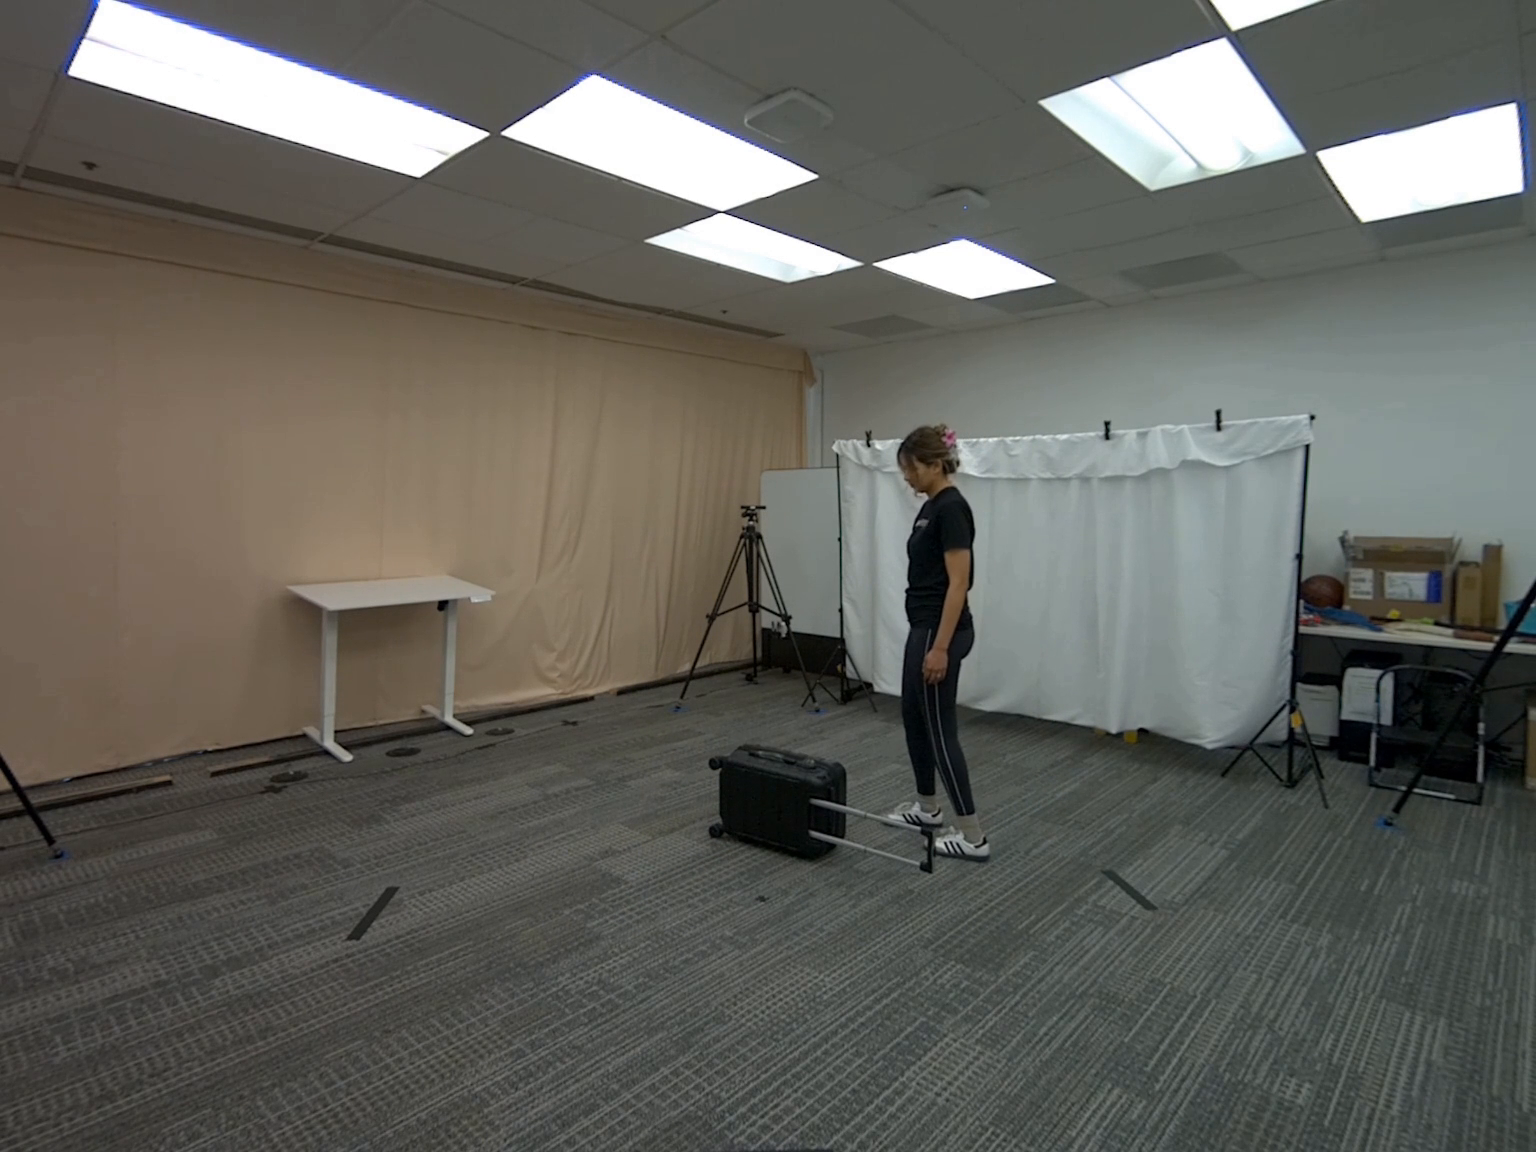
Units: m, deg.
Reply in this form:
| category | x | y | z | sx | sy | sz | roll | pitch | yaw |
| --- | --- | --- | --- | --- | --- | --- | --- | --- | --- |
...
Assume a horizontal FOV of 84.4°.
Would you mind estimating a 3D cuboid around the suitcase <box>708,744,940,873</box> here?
| category | x | y | z | sx | sy | sz | roll | pitch | yaw |
| --- | --- | --- | --- | --- | --- | --- | --- | --- | --- |
| suitcase | 0.225 | 0.926 | 3.342 | 1.009 | 0.383 | 0.250 | 3 | 5 | 34 |
